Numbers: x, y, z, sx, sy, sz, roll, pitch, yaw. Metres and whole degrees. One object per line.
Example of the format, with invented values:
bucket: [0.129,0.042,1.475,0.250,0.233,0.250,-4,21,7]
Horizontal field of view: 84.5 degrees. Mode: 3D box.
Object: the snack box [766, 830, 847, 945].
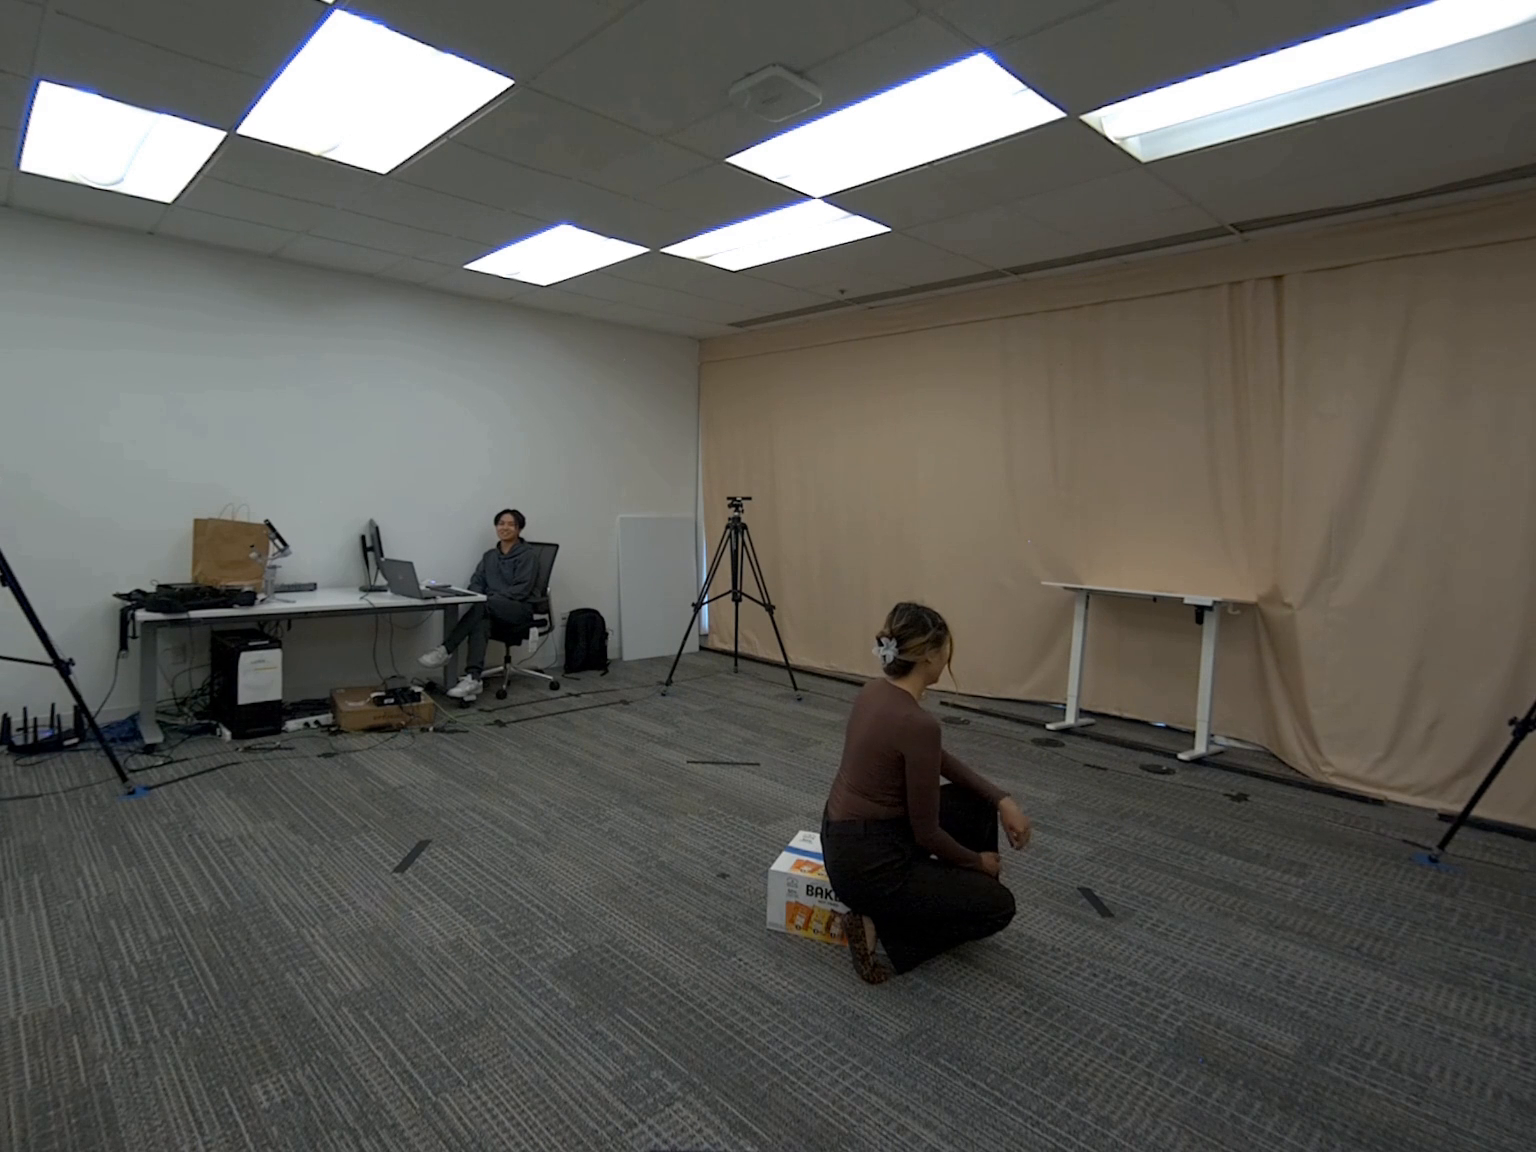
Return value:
snack box: [0.242,1.044,2.800,0.412,0.205,0.336,4,6,20]
